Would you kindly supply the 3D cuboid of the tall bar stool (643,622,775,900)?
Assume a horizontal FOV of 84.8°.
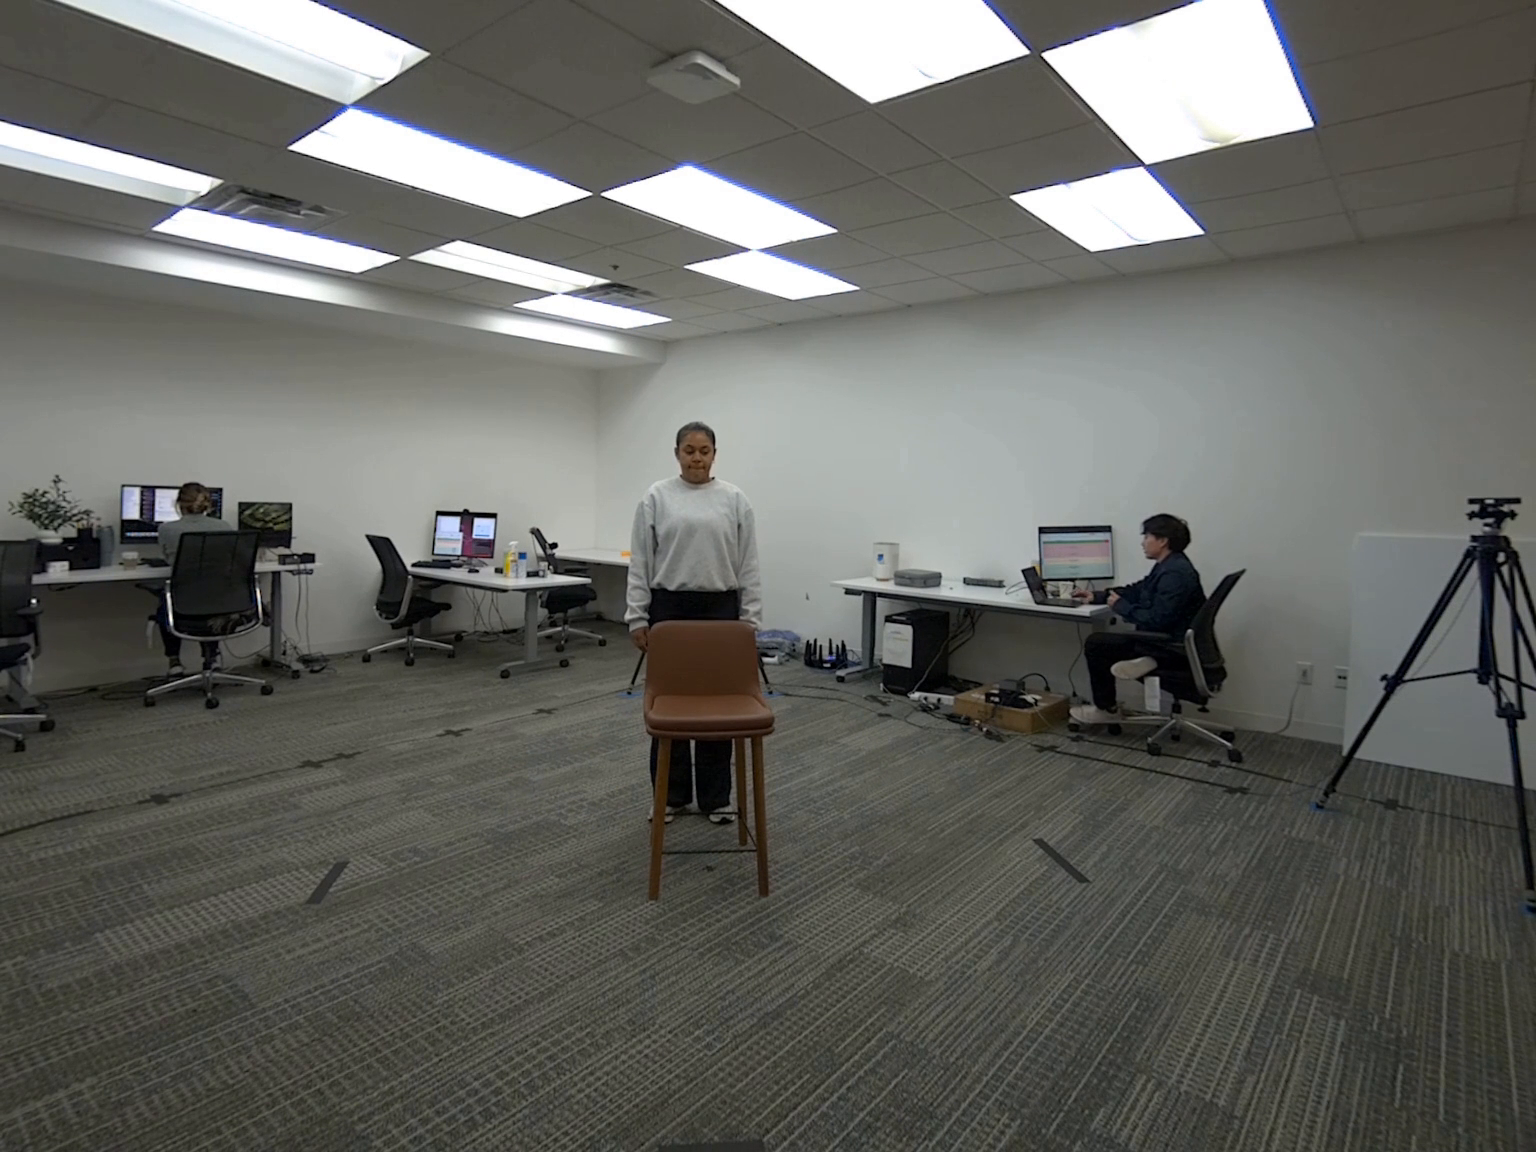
[{"bbox_3d":[-0.229,0.632,3.095,0.454,0.889,0.471,0,1,-7],"label":"tall bar stool"}]
